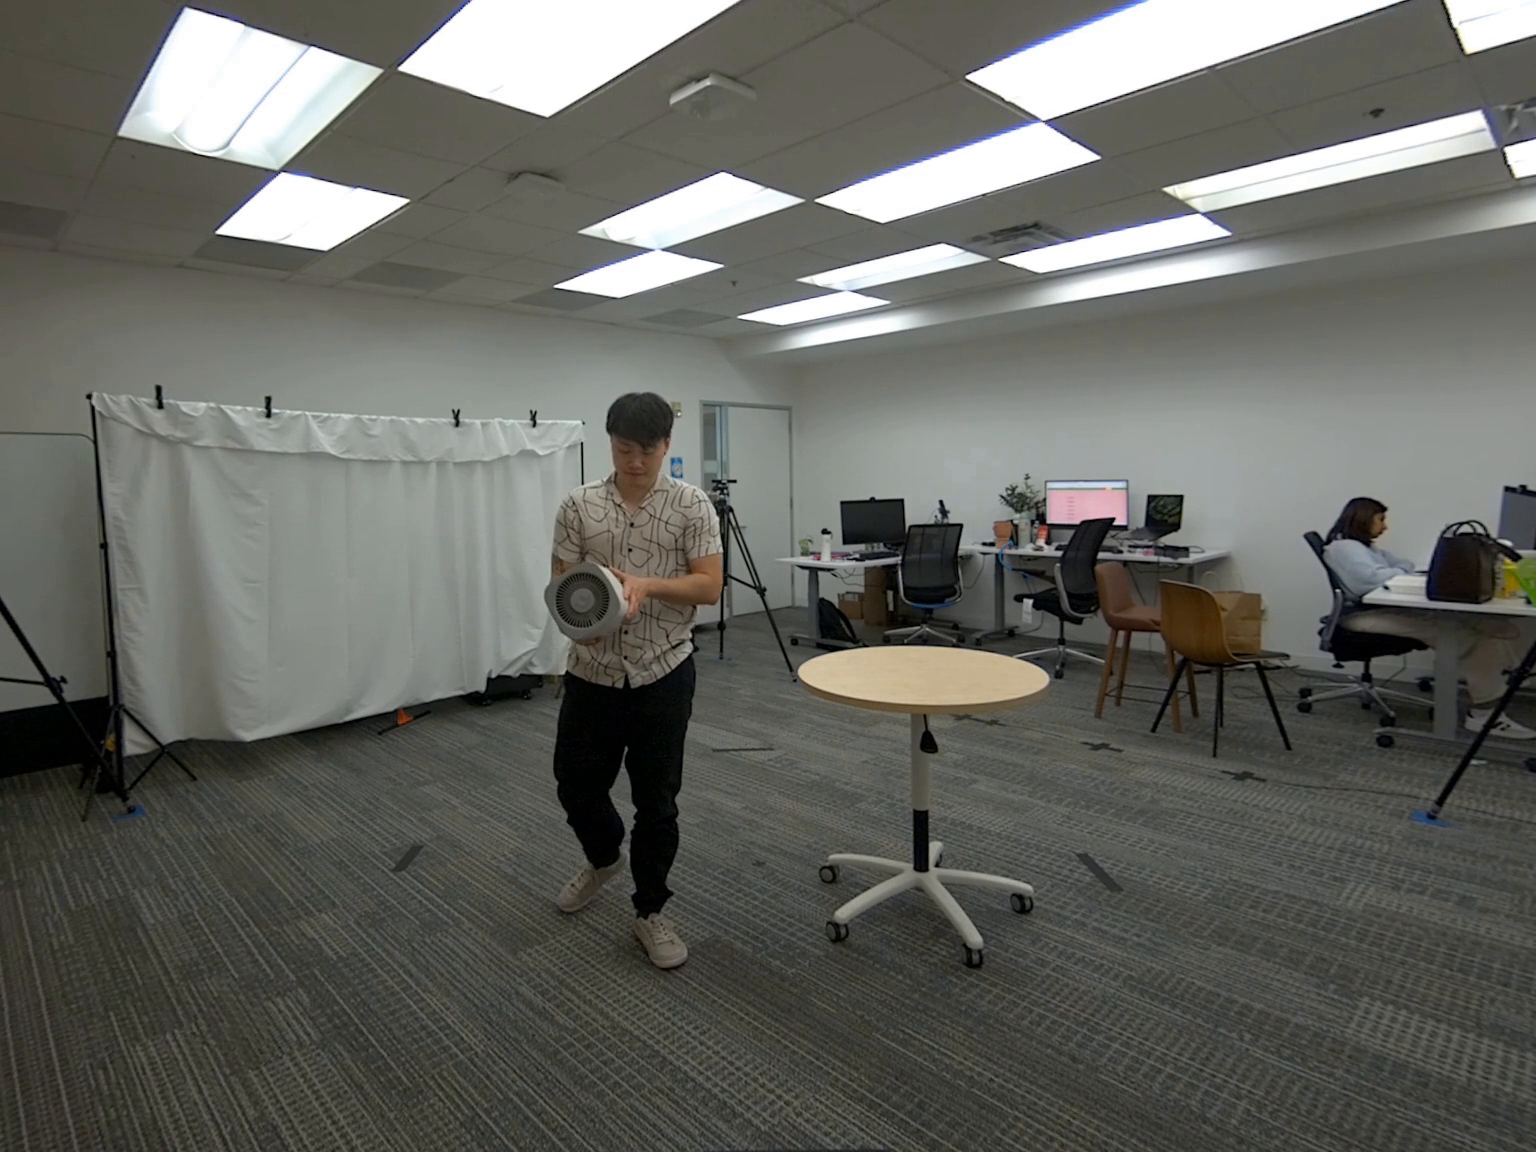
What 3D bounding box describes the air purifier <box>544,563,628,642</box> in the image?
[{"bbox_3d":[-0.474,0.071,2.295,0.171,0.173,0.263,-32,-5,-1],"label":"air purifier"}]
